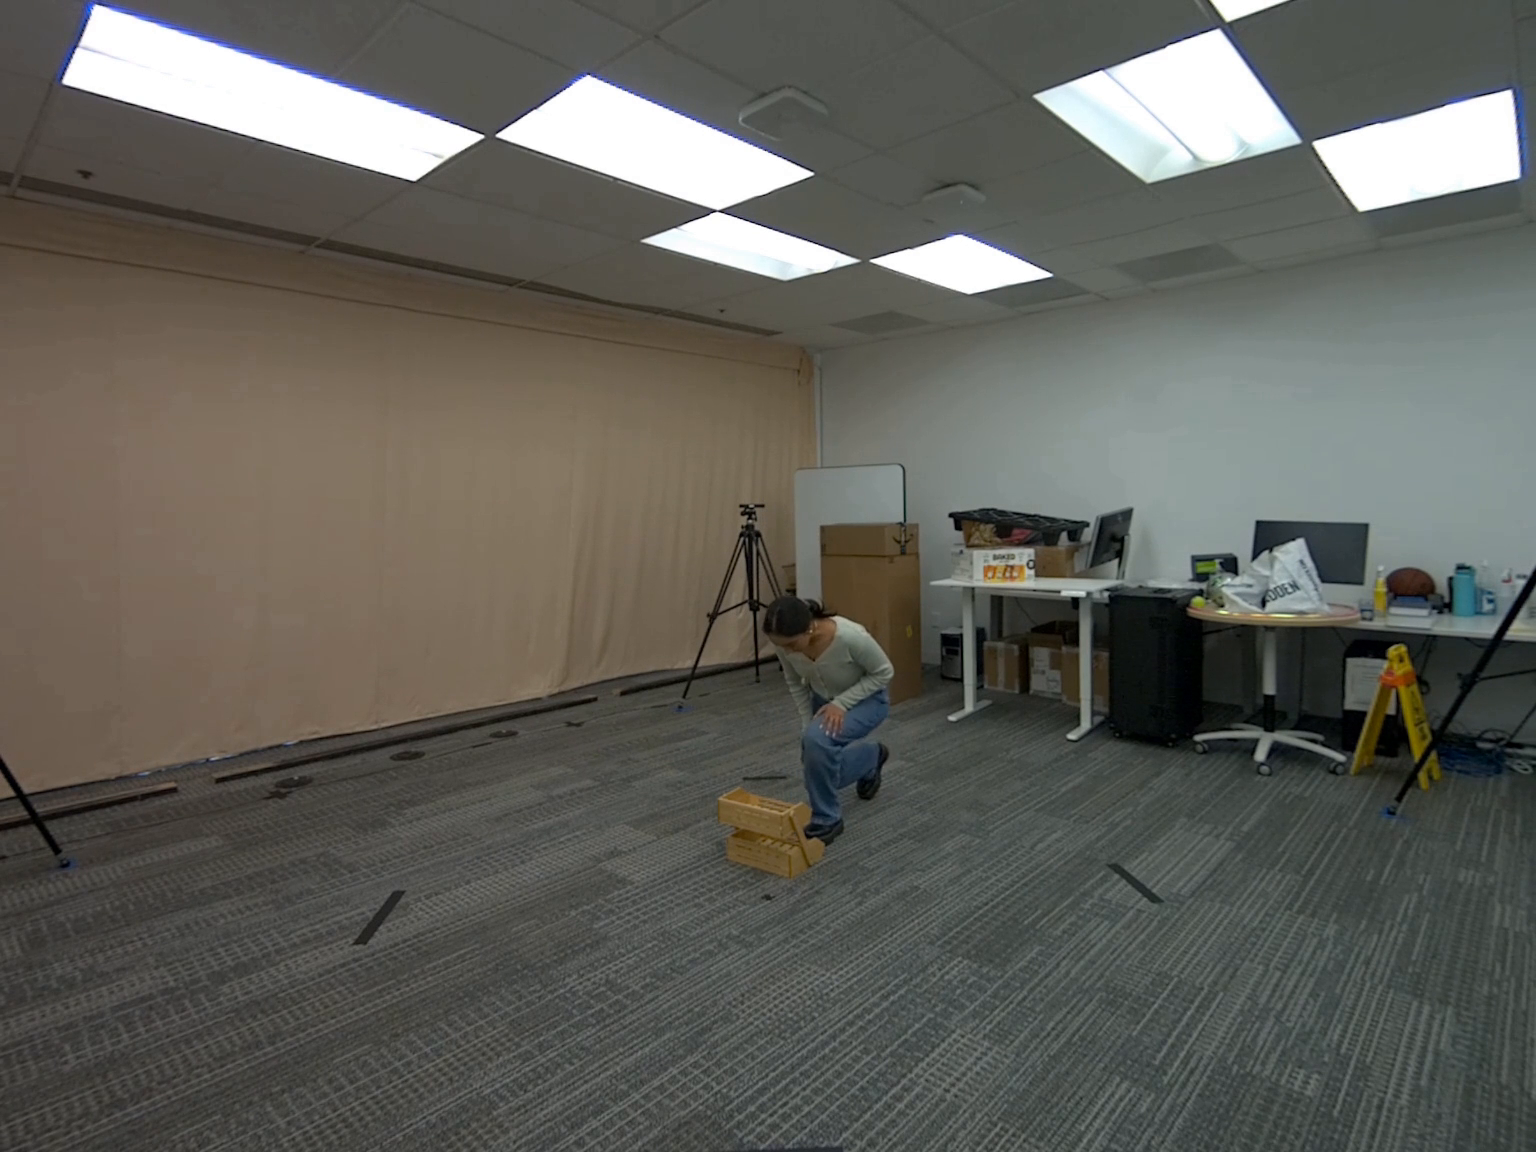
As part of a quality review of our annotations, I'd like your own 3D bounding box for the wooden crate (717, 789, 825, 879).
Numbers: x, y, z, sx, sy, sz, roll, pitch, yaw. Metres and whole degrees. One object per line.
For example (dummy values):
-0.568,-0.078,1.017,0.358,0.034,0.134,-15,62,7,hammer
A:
0.016,0.978,3.287,0.334,0.272,0.293,2,6,35,wooden crate
